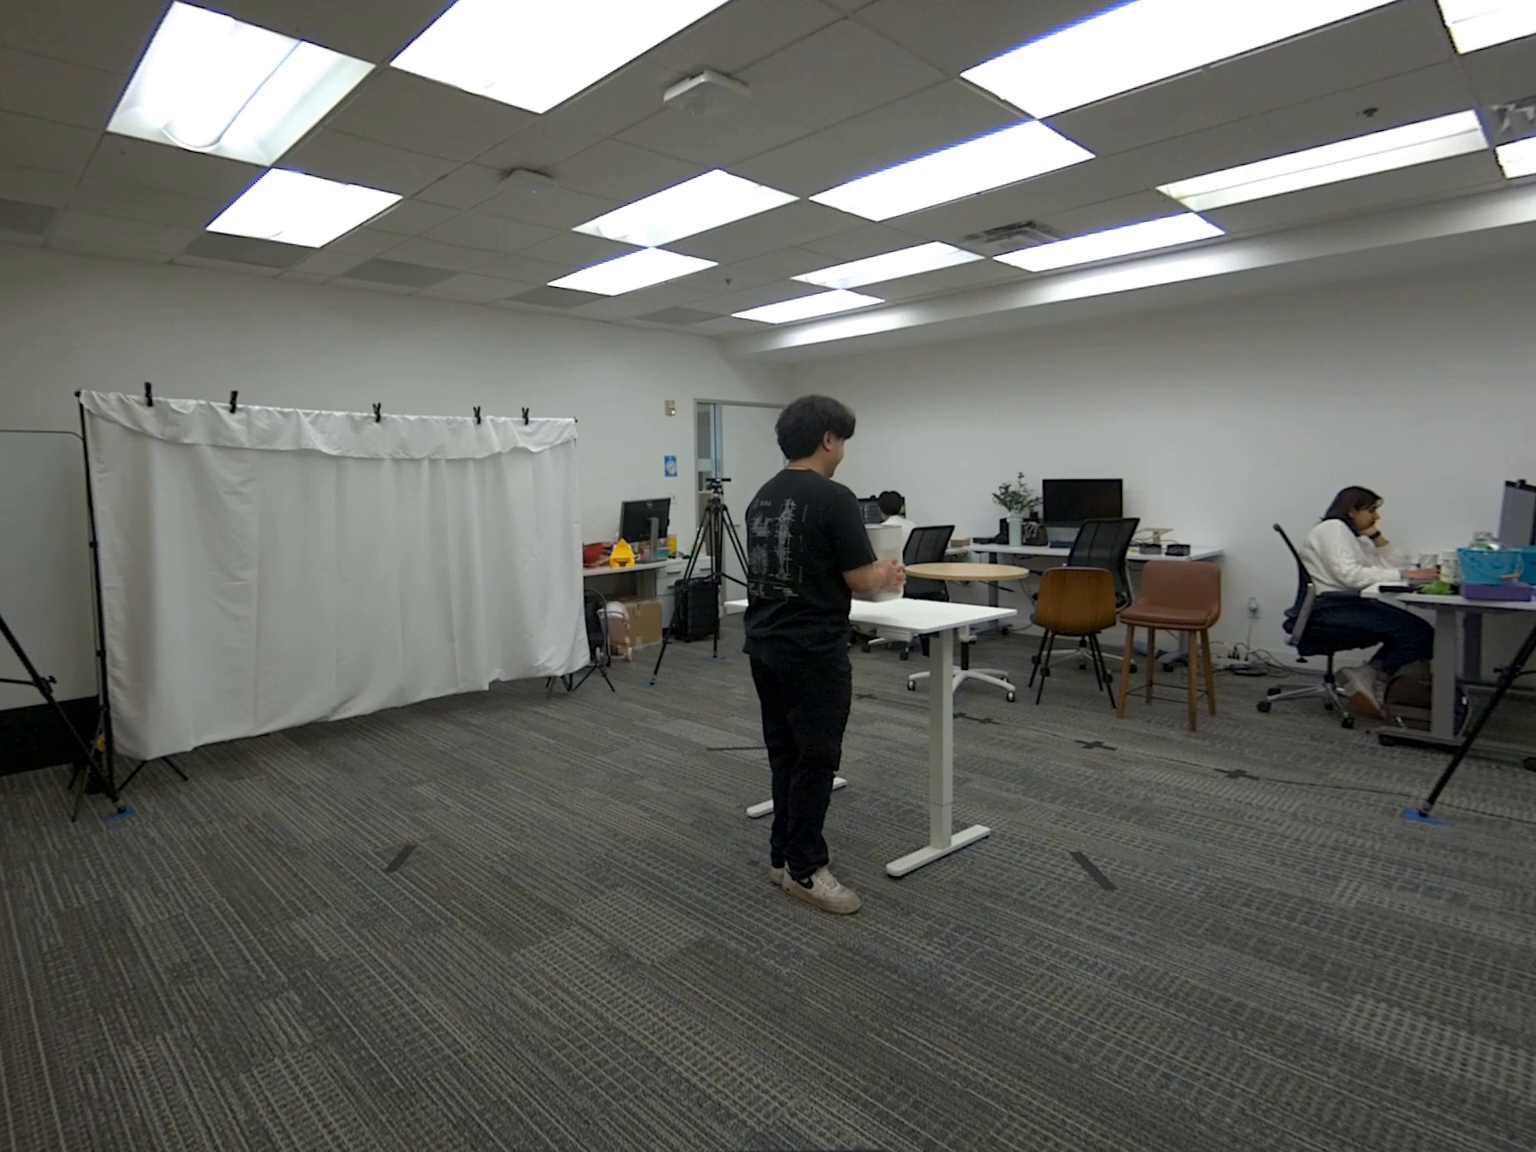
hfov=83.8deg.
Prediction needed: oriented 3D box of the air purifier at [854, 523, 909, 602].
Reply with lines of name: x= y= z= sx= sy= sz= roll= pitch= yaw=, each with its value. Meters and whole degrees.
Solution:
air purifier: x=0.384 y=-0.046 z=3.047 sx=0.167 sy=0.264 sz=0.176 roll=-6 pitch=6 yaw=-39
